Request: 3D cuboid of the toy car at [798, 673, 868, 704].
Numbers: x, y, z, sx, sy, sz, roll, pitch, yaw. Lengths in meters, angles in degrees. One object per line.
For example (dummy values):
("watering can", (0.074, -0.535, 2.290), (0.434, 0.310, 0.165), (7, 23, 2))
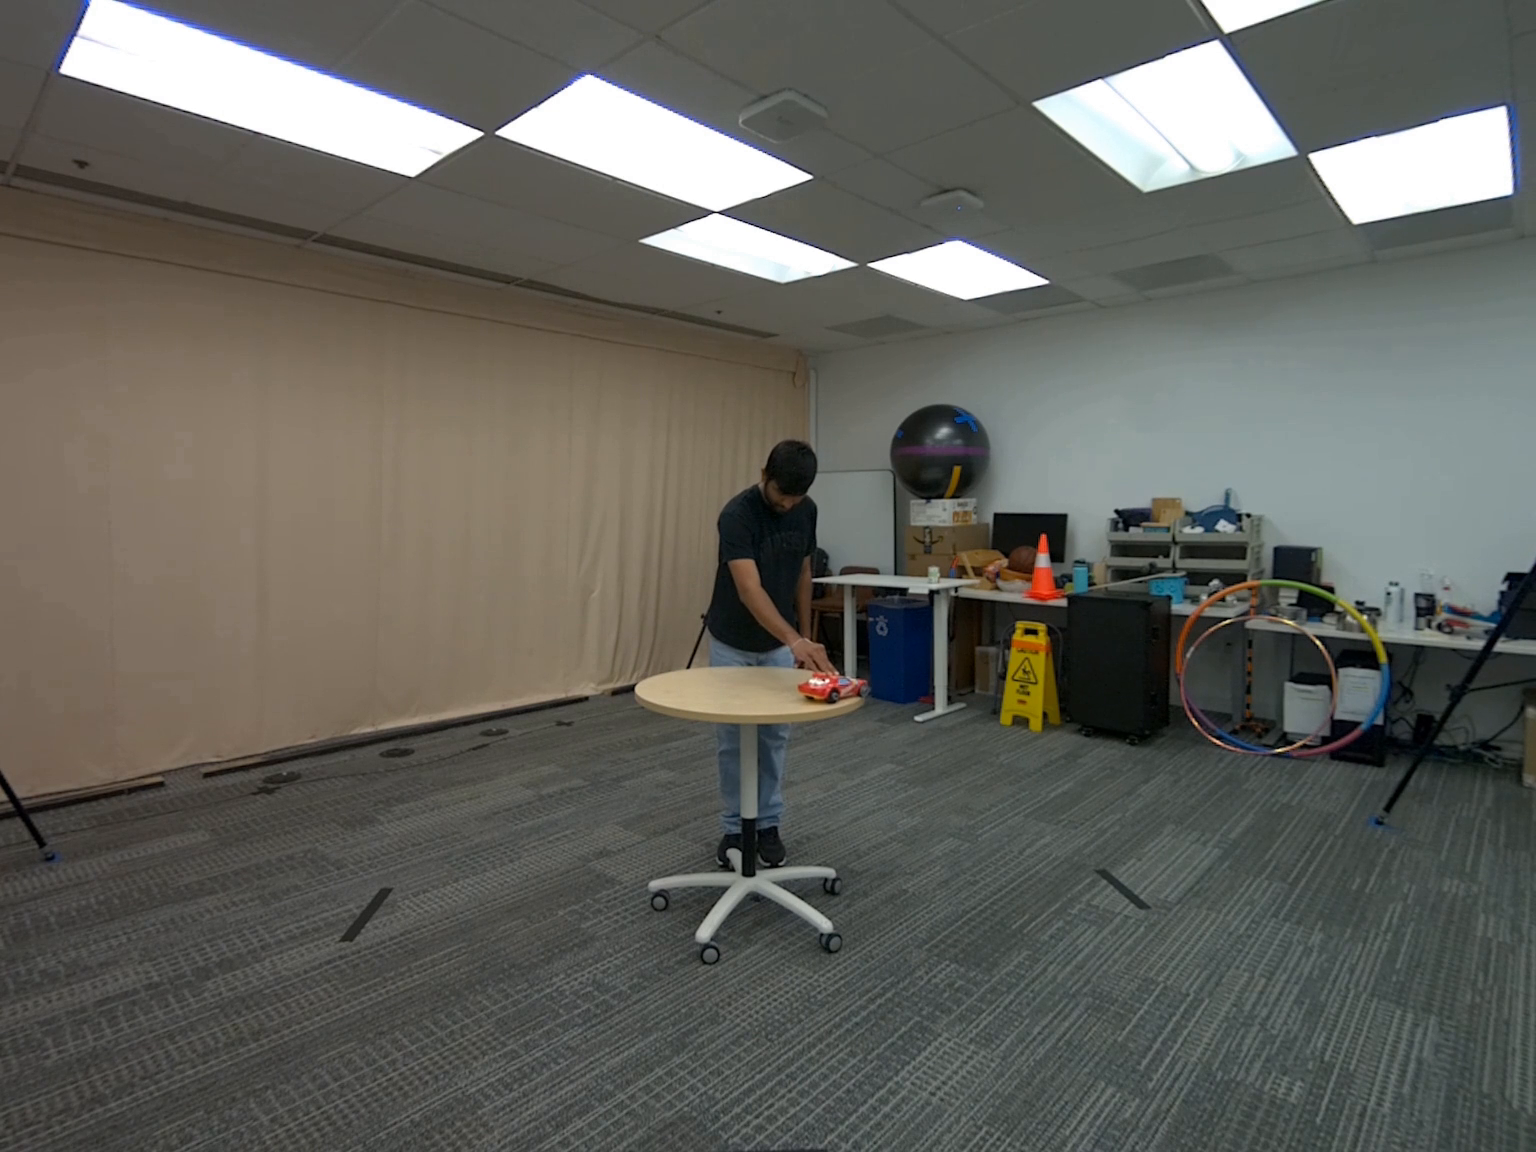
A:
("toy car", (0.201, 0.357, 2.663), (0.246, 0.083, 0.135), (11, -4, -43))
